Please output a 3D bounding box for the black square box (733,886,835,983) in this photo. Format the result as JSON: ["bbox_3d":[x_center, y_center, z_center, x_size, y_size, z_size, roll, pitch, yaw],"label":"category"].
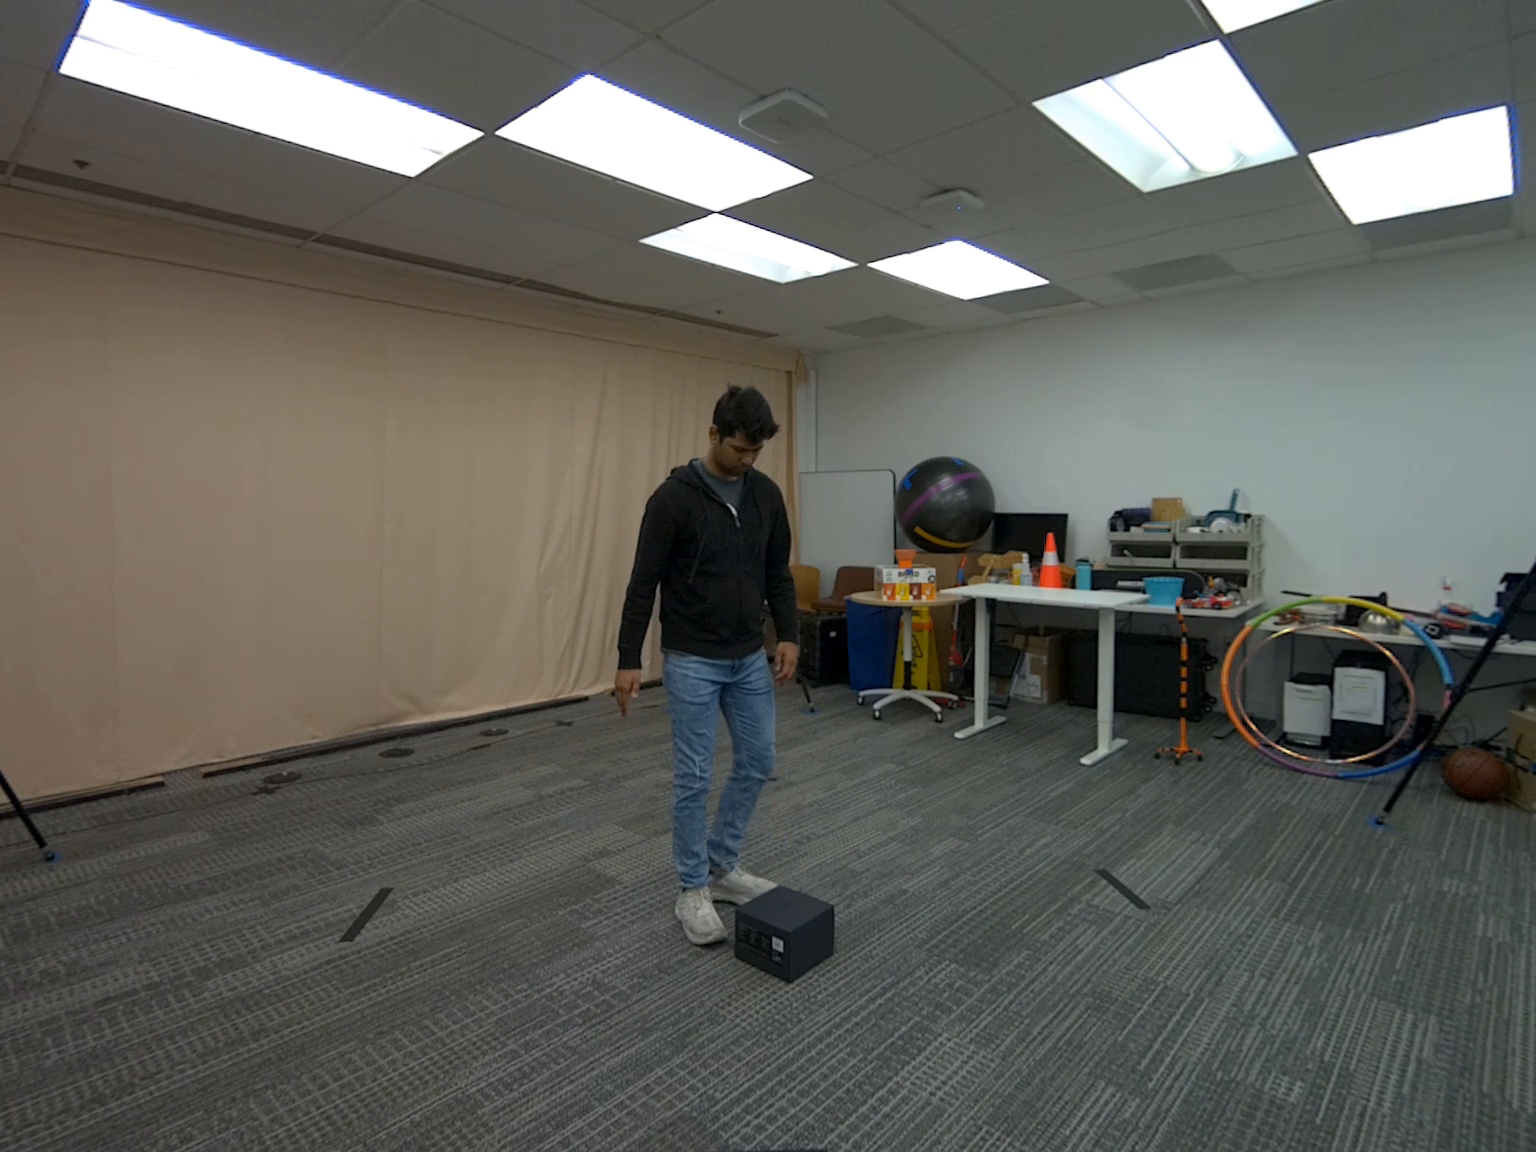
[{"bbox_3d":[0.055,1.093,2.597,0.224,0.155,0.221,3,5,41],"label":"black square box"}]
